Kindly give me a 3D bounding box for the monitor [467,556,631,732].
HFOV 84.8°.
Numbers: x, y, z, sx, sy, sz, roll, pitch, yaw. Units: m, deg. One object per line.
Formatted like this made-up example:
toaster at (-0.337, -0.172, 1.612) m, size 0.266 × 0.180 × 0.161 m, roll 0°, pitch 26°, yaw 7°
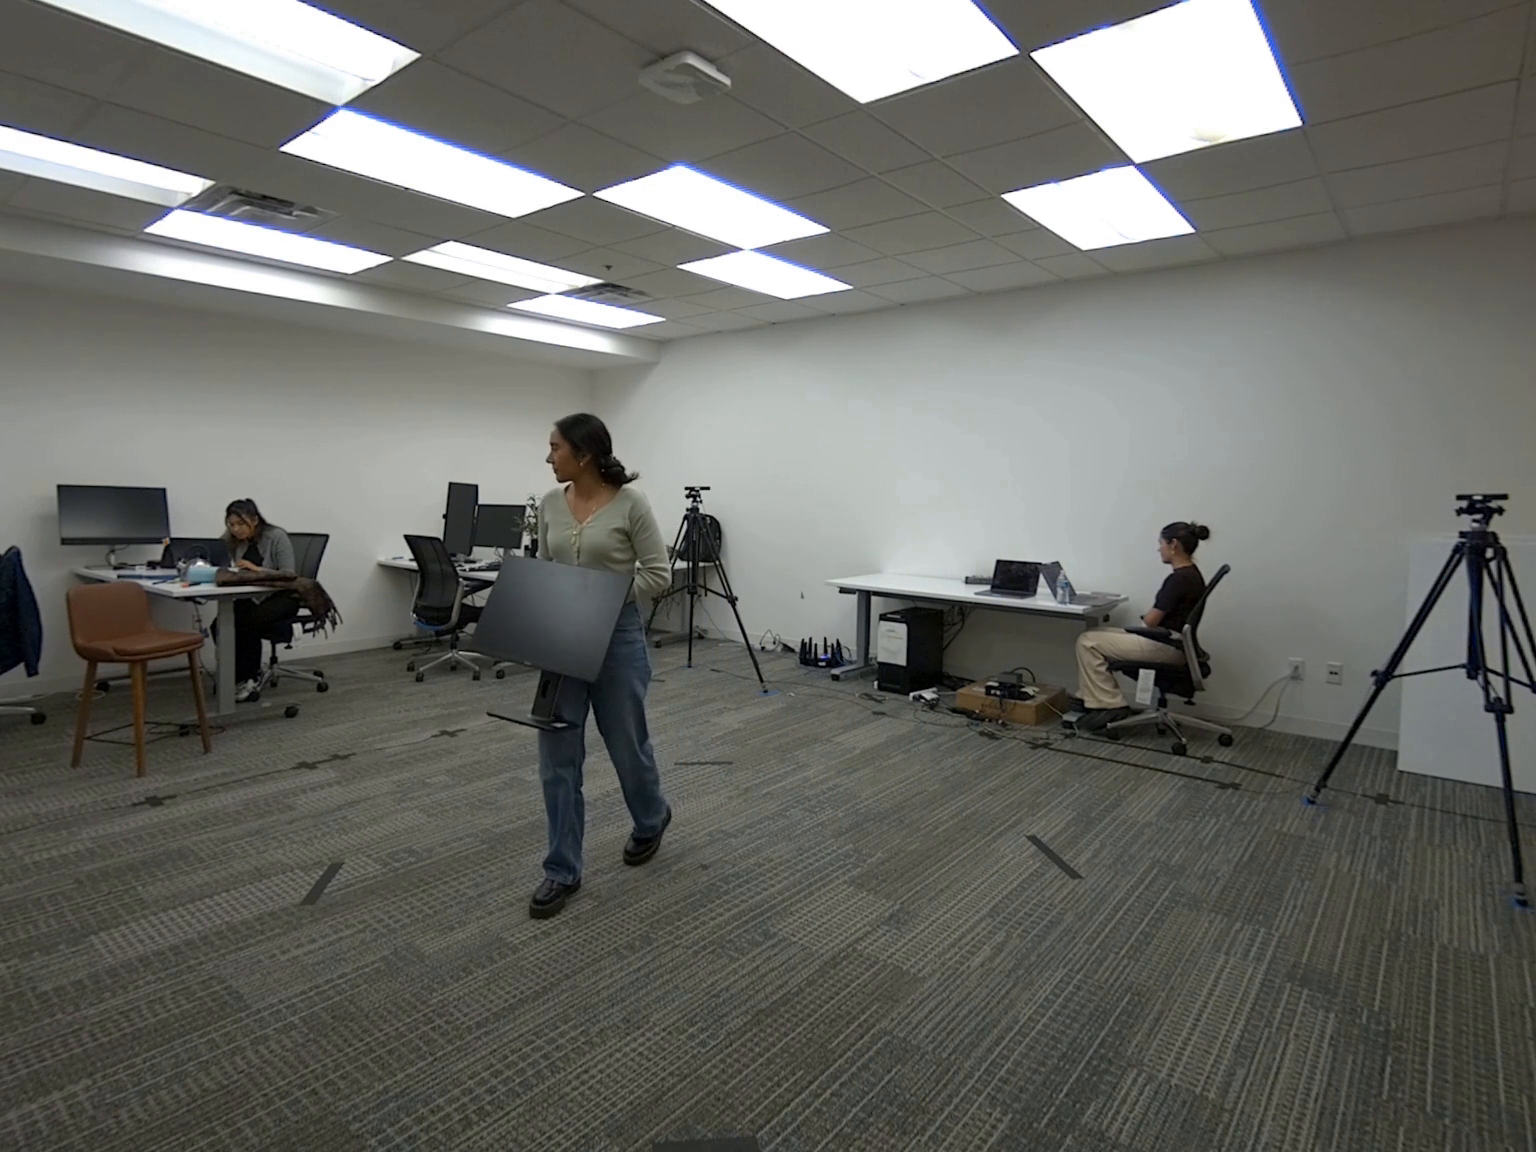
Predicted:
monitor at (-0.726, 0.207, 2.756) m, size 0.545 × 0.516 × 0.169 m, roll 9°, pitch -1°, yaw 26°
